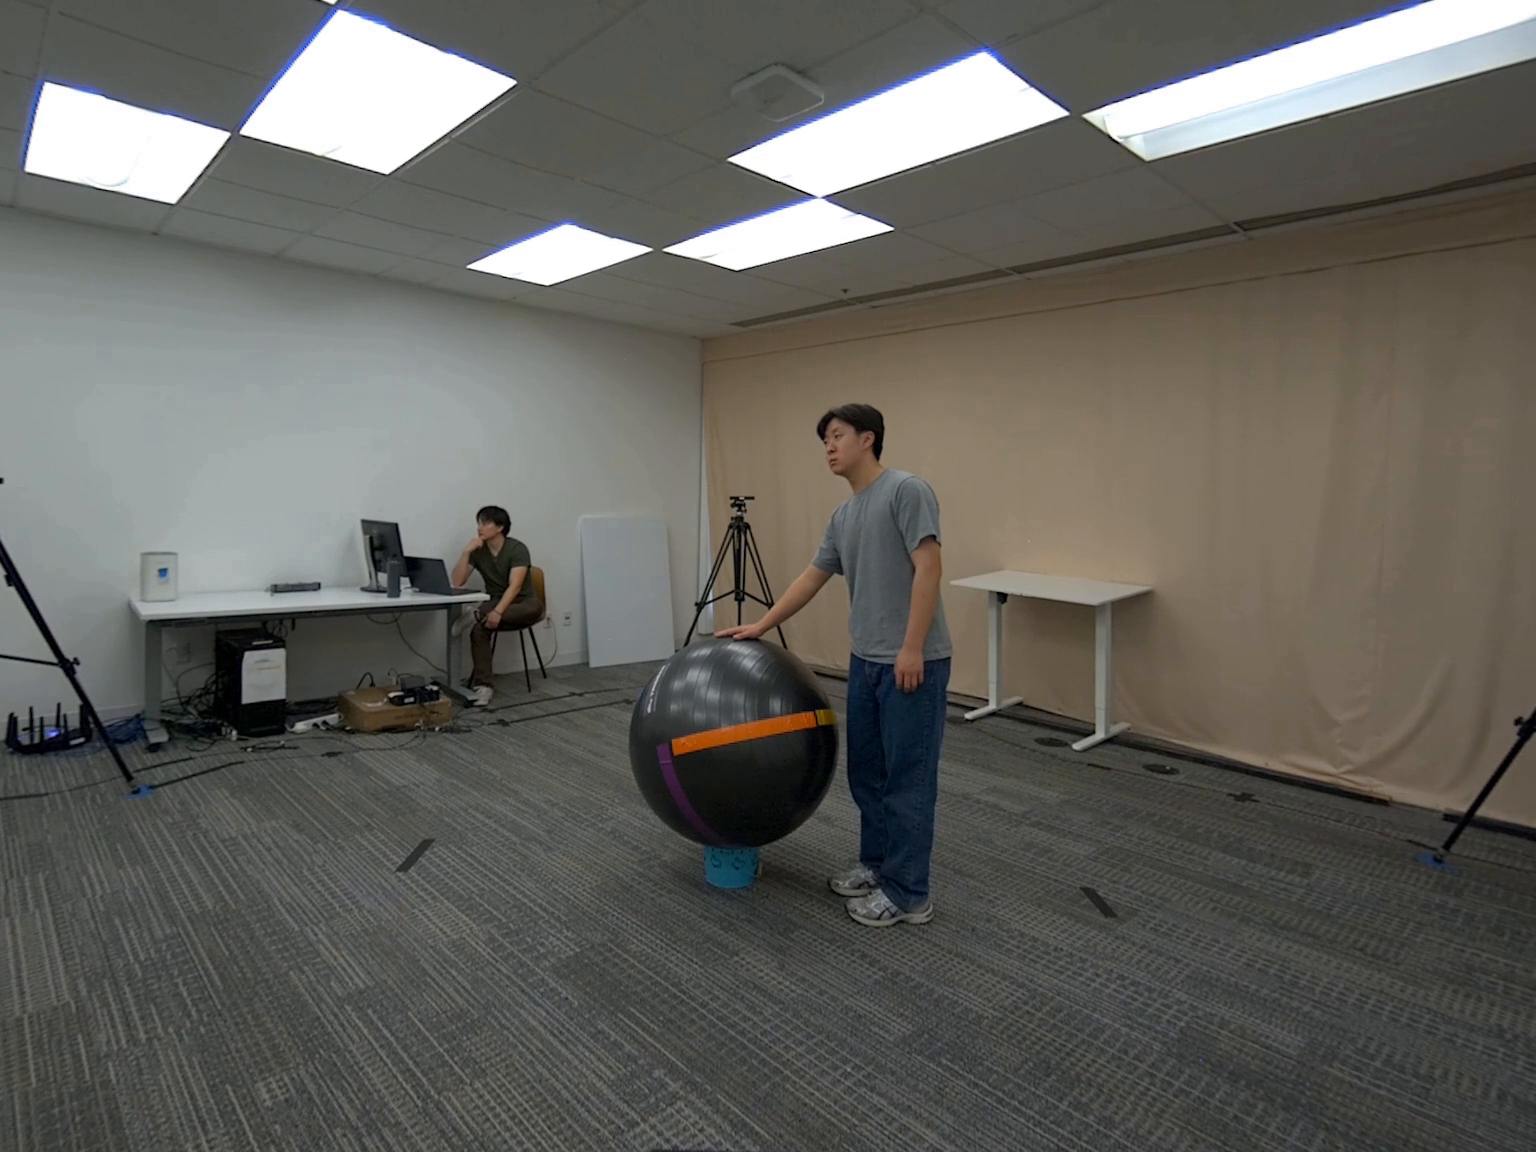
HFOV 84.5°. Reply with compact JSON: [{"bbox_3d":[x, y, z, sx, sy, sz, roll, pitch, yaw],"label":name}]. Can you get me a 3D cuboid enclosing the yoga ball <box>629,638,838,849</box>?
[{"bbox_3d":[-0.131,0.592,3.065,0.757,0.756,0.761,1,4,-1],"label":"yoga ball"}]
